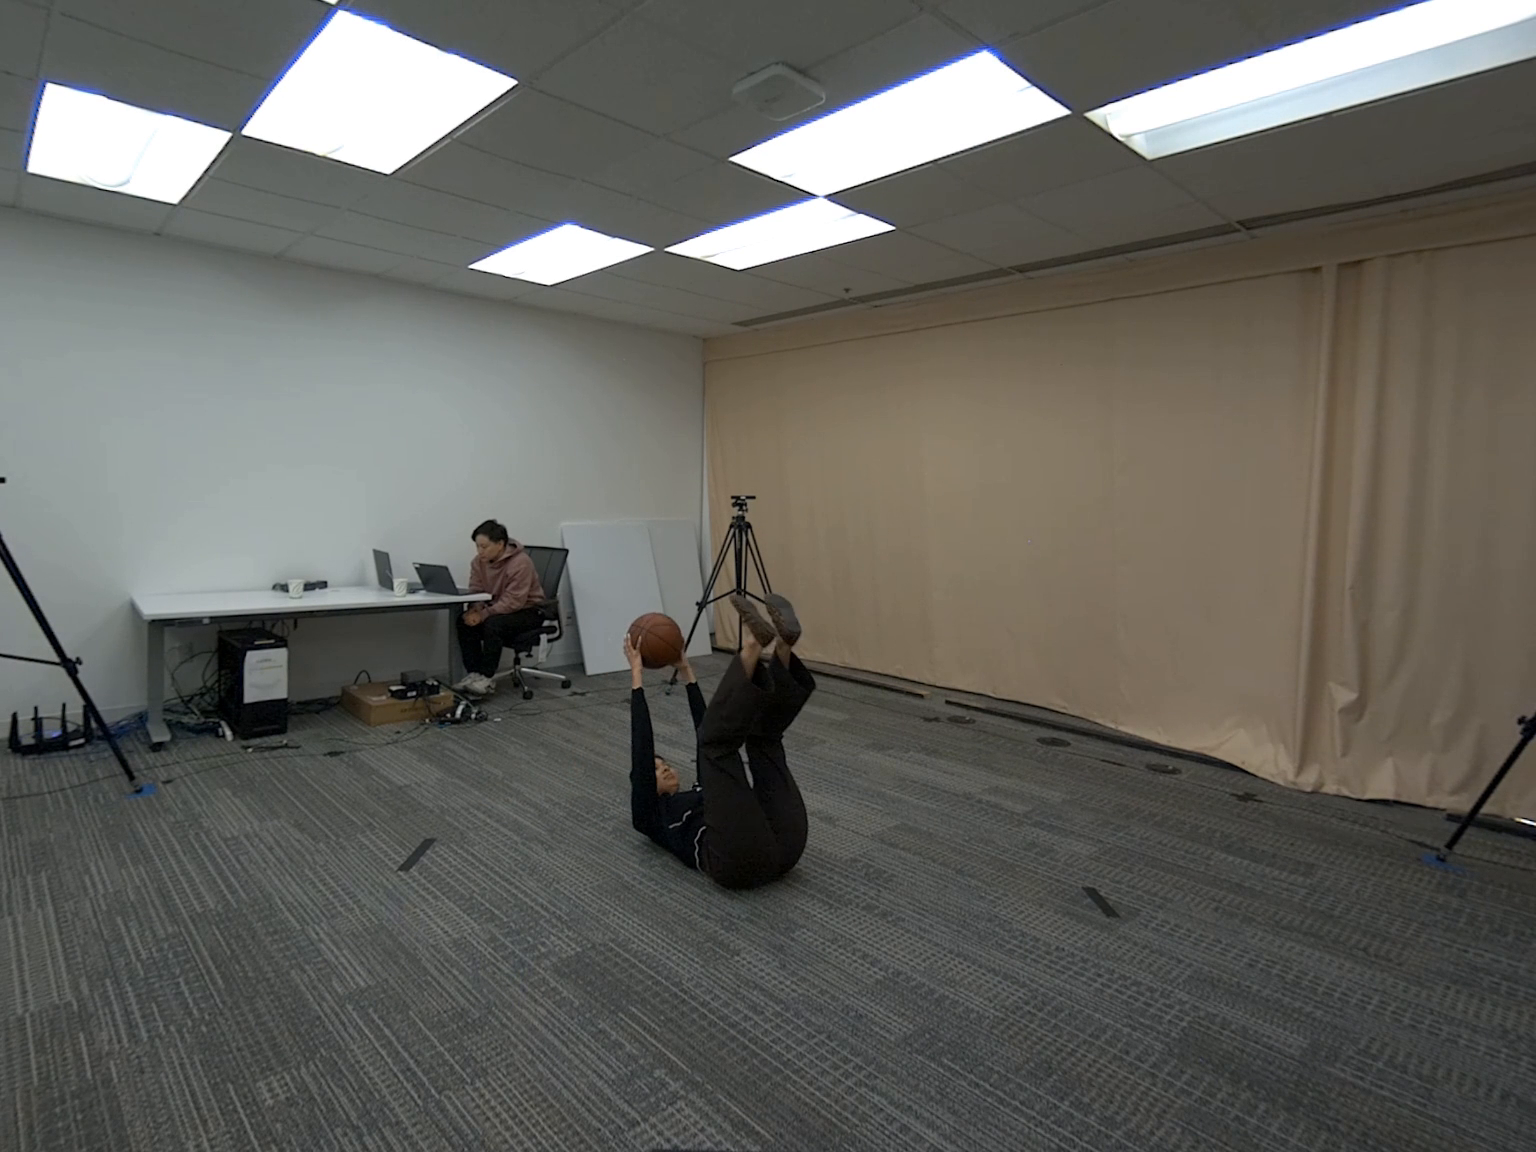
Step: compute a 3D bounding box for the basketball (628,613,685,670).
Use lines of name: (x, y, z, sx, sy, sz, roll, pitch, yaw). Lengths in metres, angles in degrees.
basketball: (-0.492, 0.275, 3.538, 0.236, 0.235, 0.237, 1, 4, -1)
